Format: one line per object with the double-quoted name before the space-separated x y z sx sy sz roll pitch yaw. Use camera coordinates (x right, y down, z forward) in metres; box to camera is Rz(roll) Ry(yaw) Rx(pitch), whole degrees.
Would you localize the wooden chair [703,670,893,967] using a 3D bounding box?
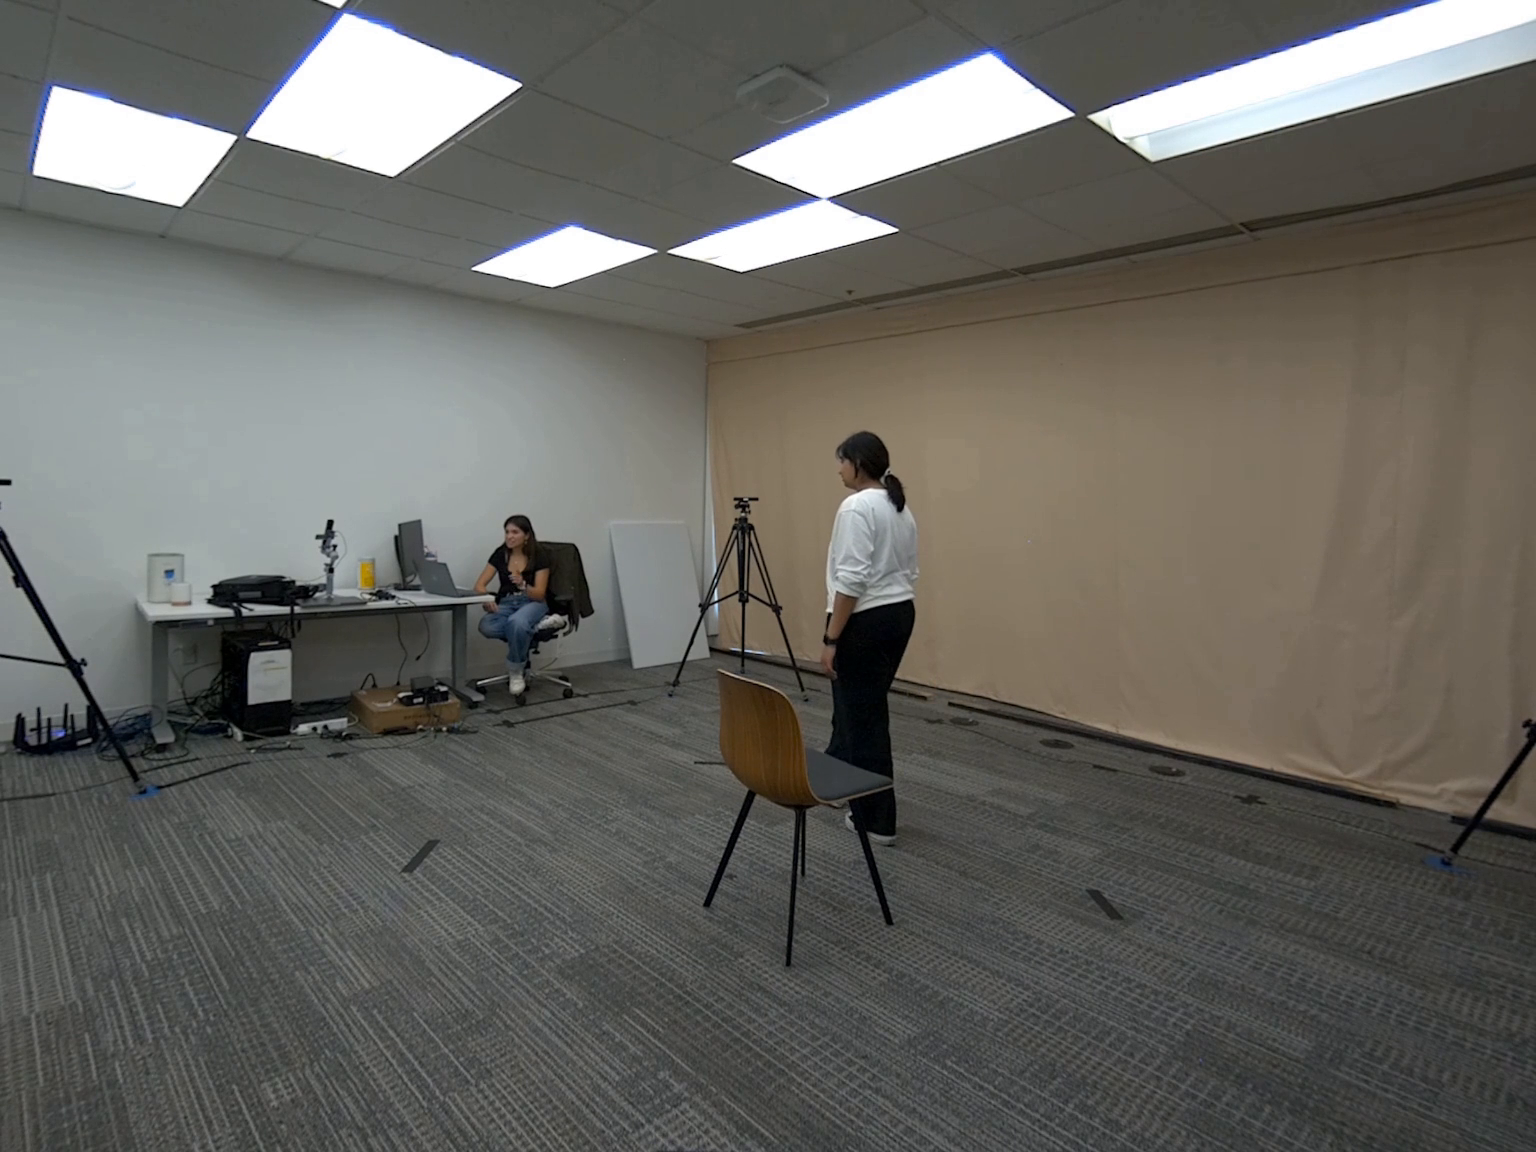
"wooden chair" 0.107 0.714 2.796 0.512 0.873 0.490 -7 8 -37
